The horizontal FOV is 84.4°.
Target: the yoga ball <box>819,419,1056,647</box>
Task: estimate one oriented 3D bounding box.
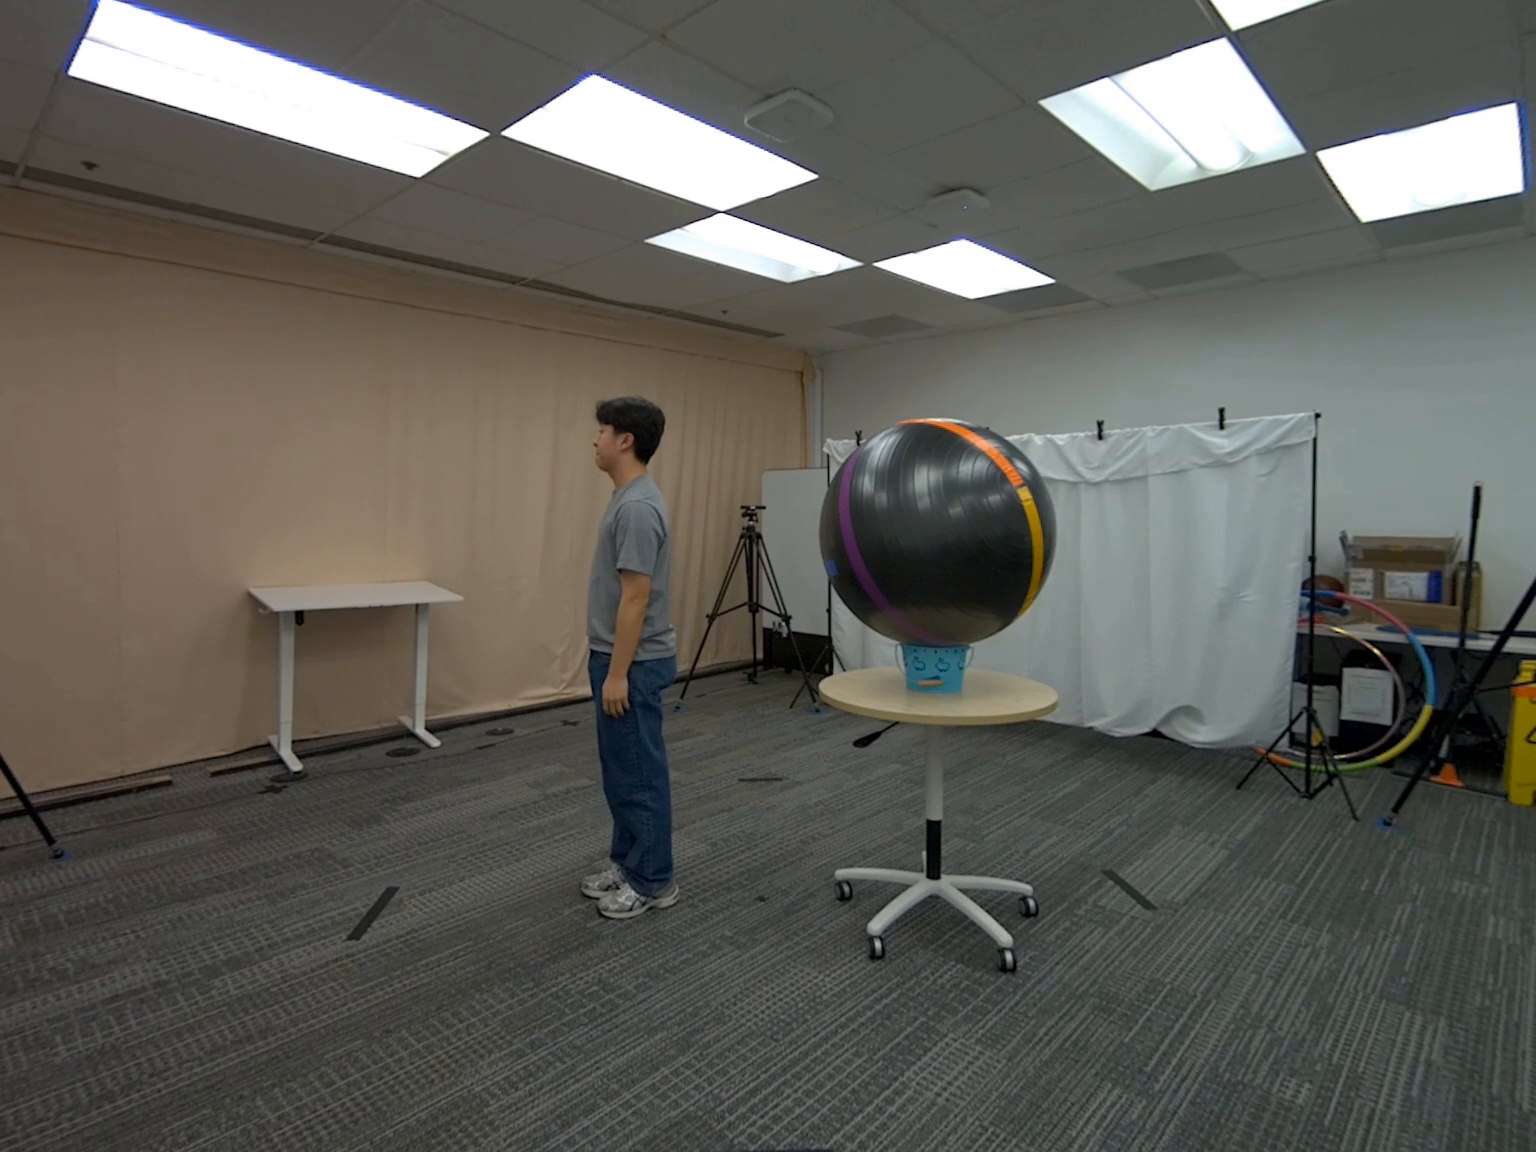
[{"bbox_3d":[0.561,-0.137,2.792,0.757,0.756,0.760,0,4,-2],"label":"yoga ball"}]
